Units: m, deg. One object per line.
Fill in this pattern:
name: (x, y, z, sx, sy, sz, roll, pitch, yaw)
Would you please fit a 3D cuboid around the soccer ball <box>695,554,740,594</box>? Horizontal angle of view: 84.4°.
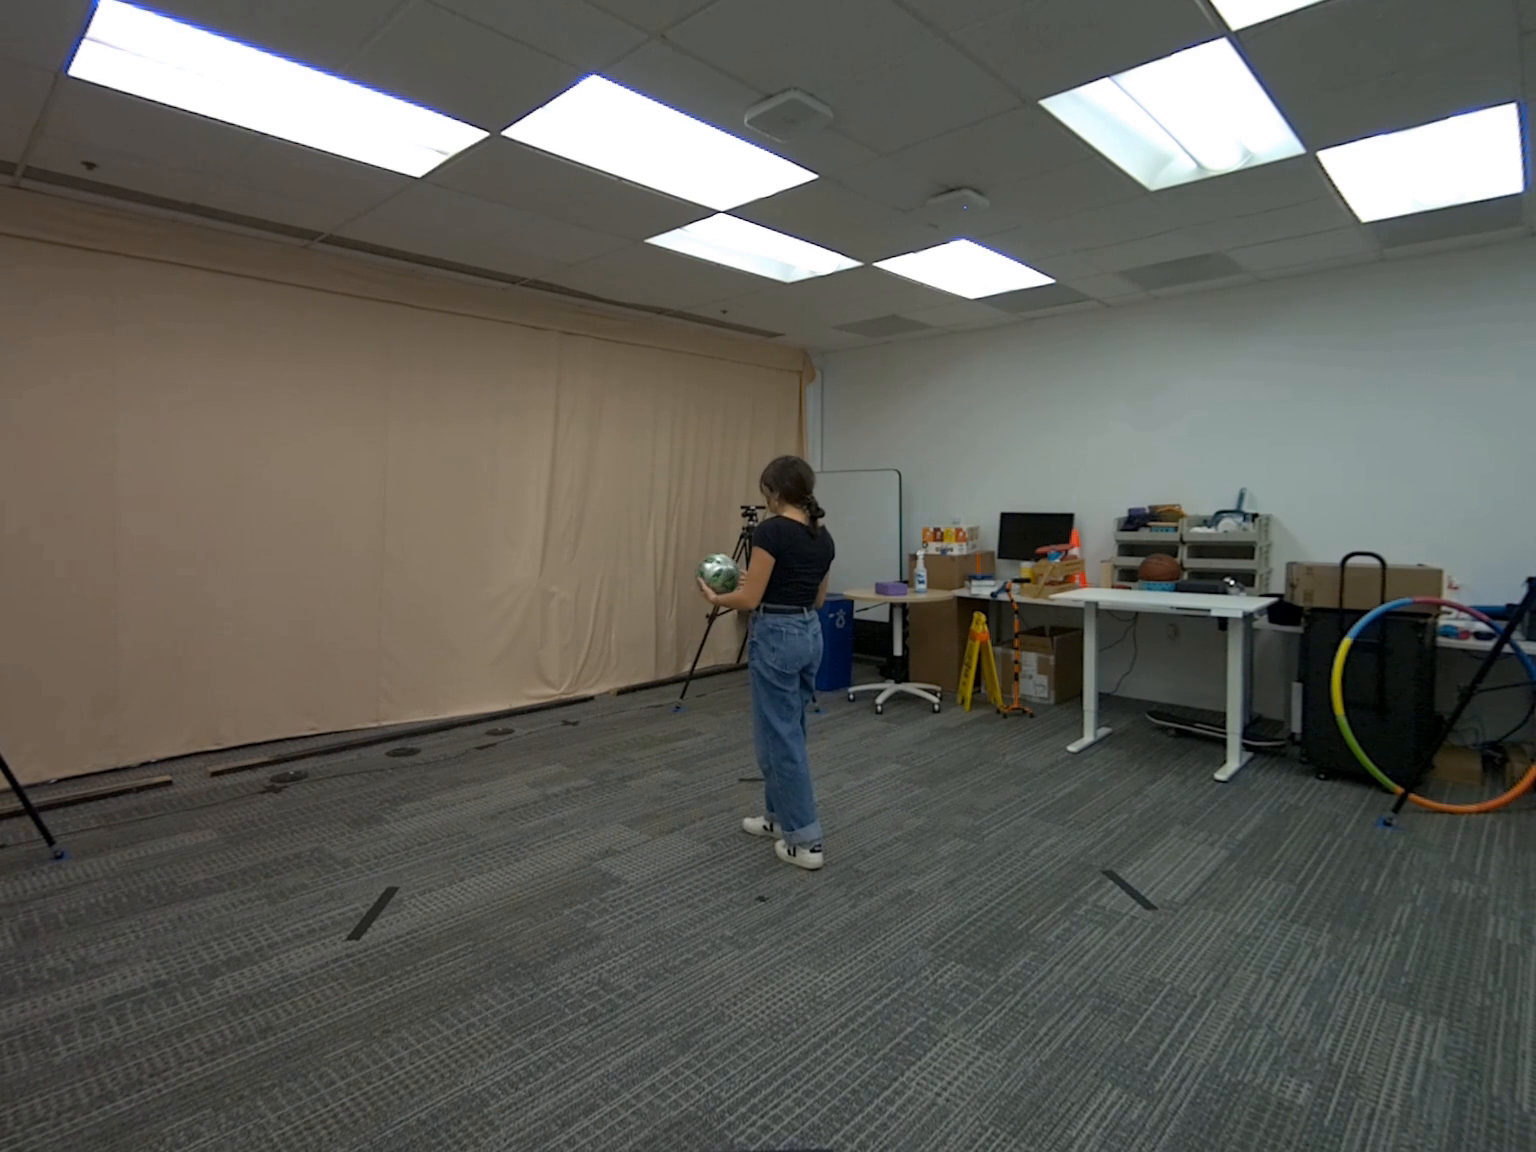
soccer ball: (-0.183, 0.006, 3.523, 0.187, 0.187, 0.188, 0, 4, -2)
